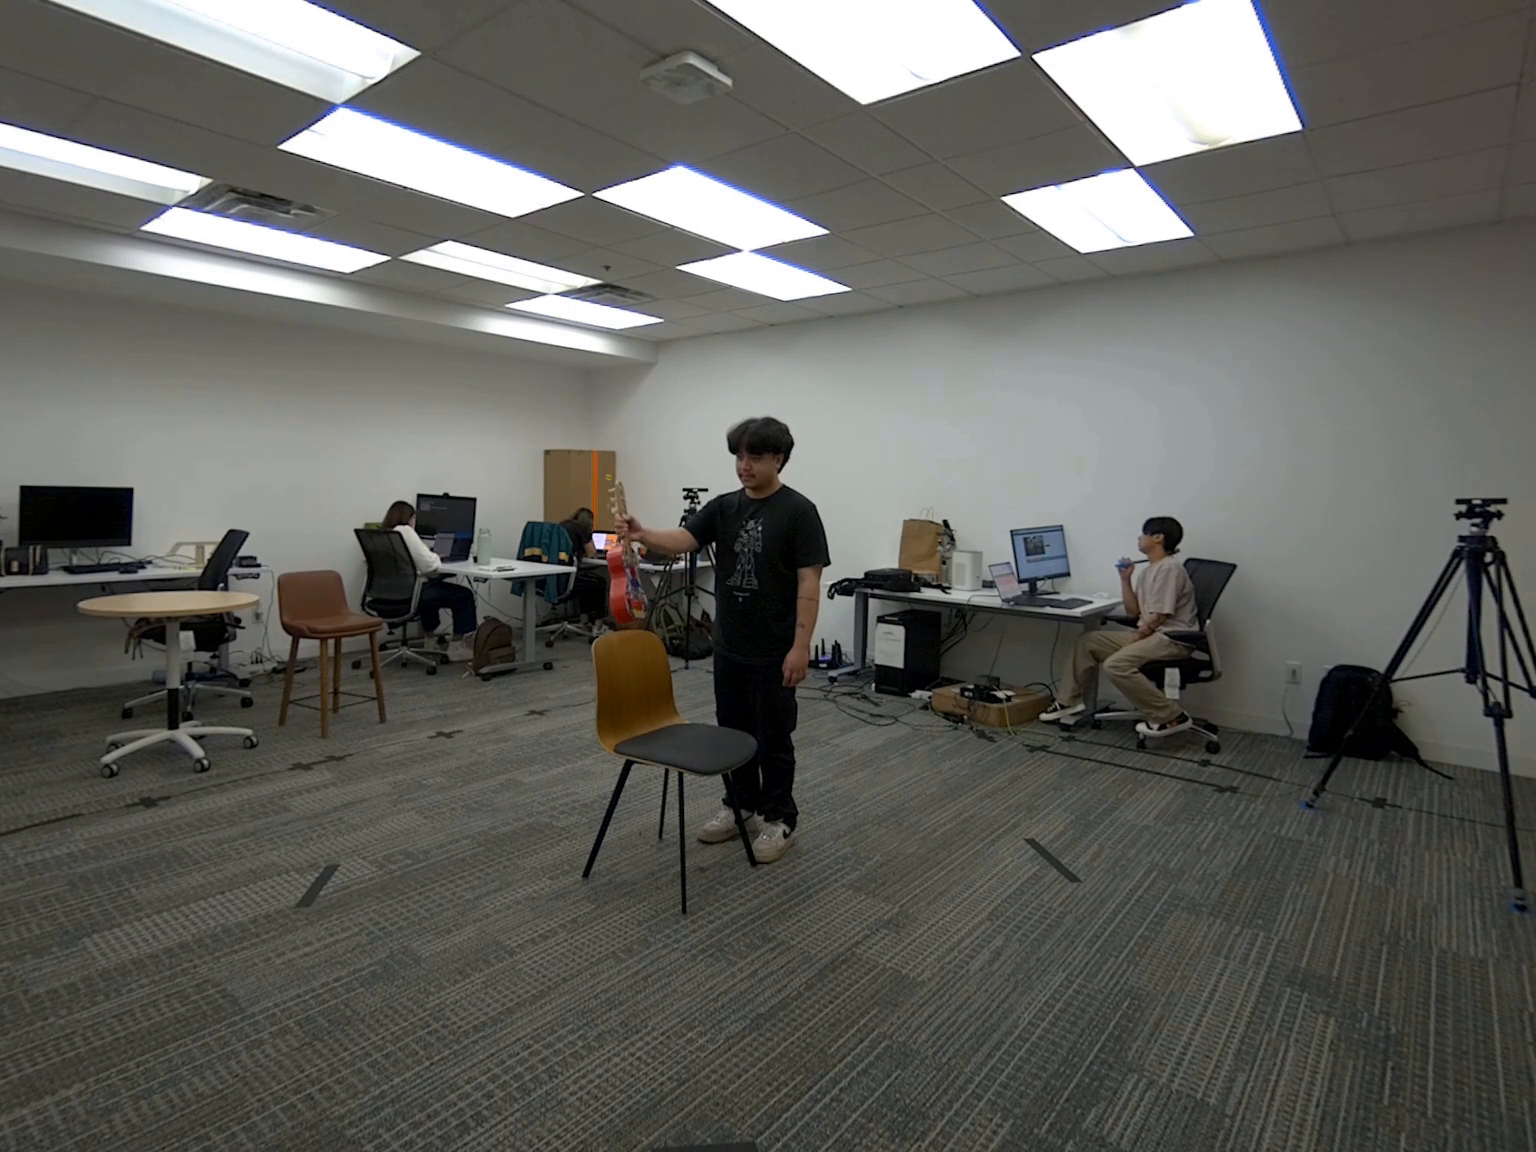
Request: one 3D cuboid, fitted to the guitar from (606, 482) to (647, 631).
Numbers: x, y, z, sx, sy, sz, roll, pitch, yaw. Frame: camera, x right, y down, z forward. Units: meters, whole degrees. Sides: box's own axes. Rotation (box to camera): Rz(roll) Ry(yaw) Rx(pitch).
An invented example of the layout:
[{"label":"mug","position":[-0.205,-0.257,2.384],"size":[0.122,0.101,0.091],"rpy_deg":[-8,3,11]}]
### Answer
[{"label":"guitar","position":[-0.513,-0.086,3.003],"size":[0.071,0.507,0.187],"rpy_deg":[-12,-18,13]}]
